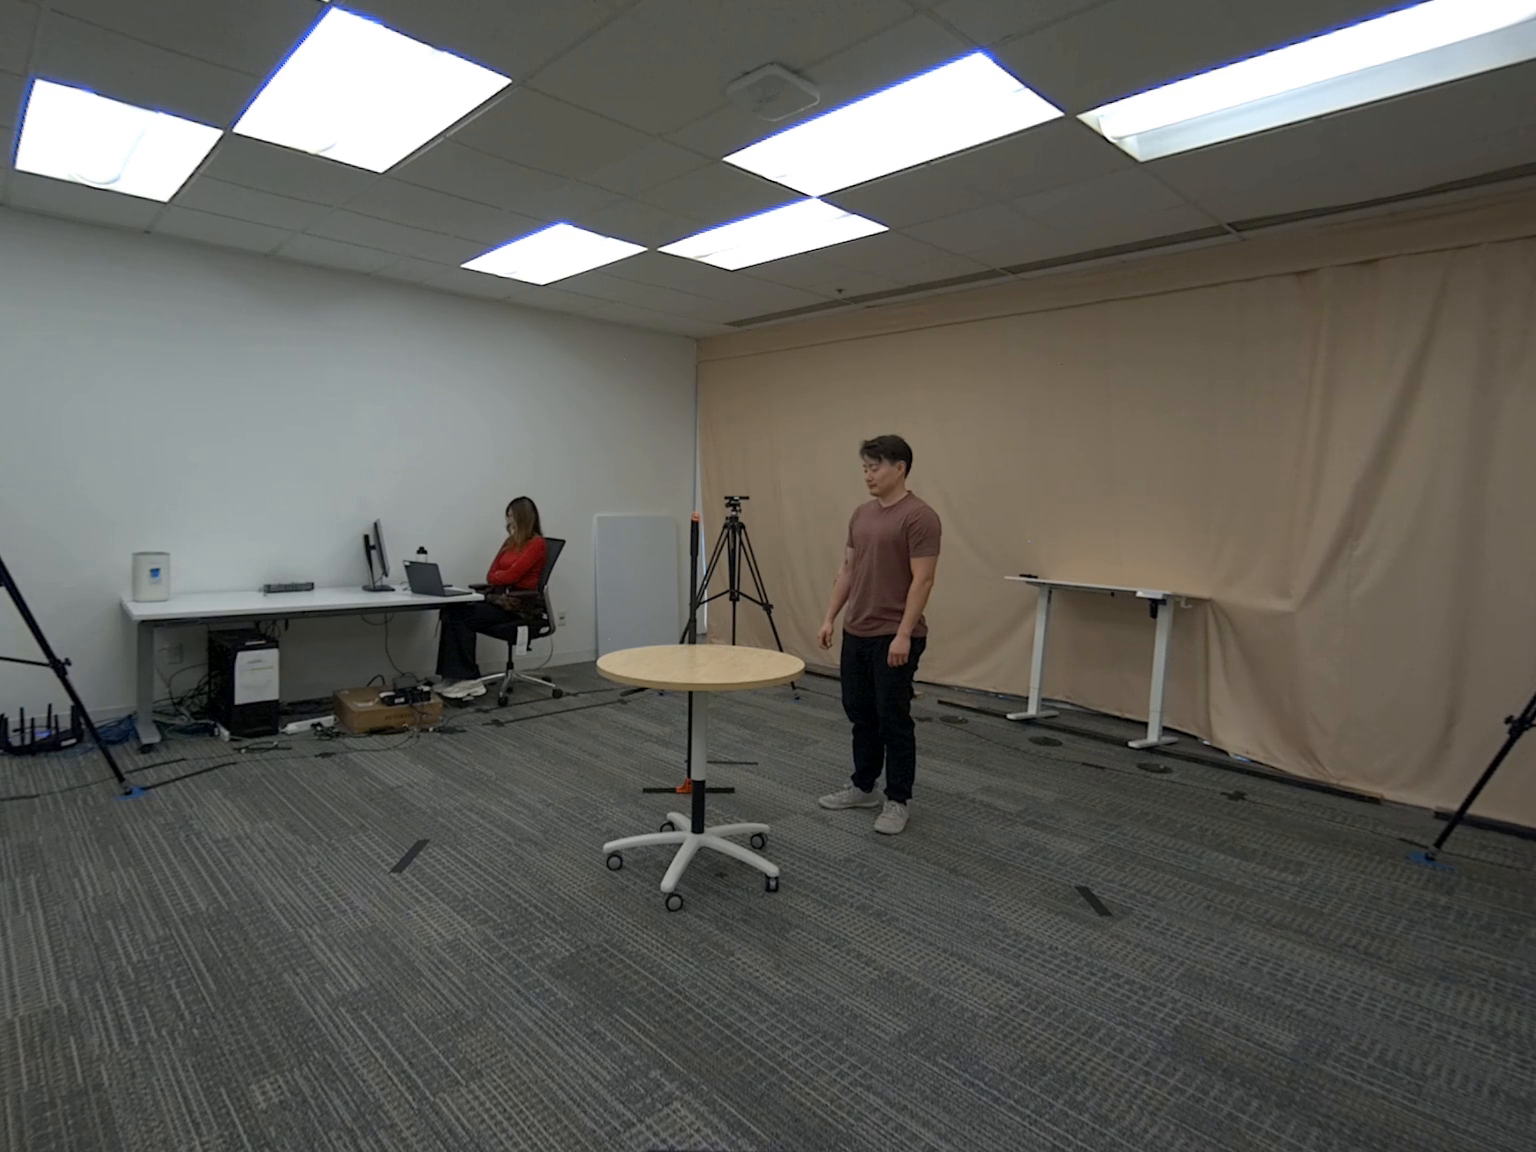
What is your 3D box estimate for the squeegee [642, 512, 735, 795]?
[{"bbox_3d":[-0.335,0.393,3.585,0.437,1.509,0.054,2,33,-2],"label":"squeegee"}]
